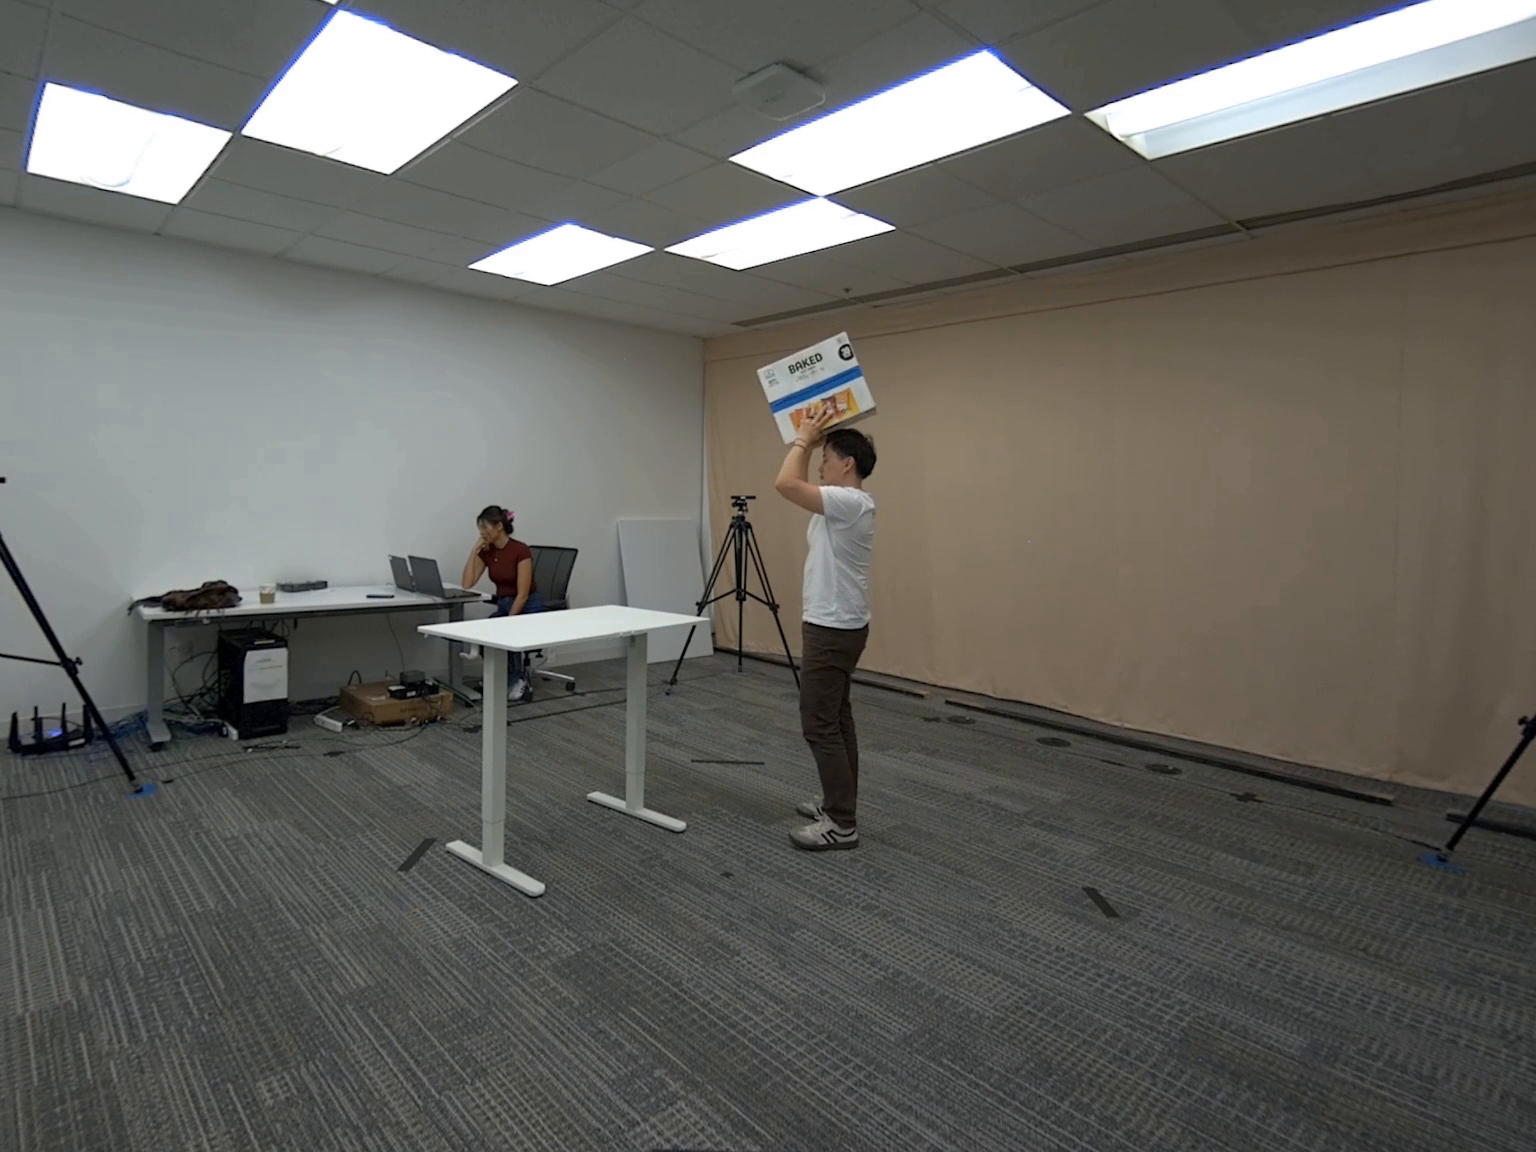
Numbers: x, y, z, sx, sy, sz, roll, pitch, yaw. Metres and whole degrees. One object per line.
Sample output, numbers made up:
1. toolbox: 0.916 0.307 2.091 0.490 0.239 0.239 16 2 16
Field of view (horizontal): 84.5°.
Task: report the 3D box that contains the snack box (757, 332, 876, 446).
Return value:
1. snack box: 0.200 -0.778 3.581 0.407 0.342 0.203 -22 -6 10
